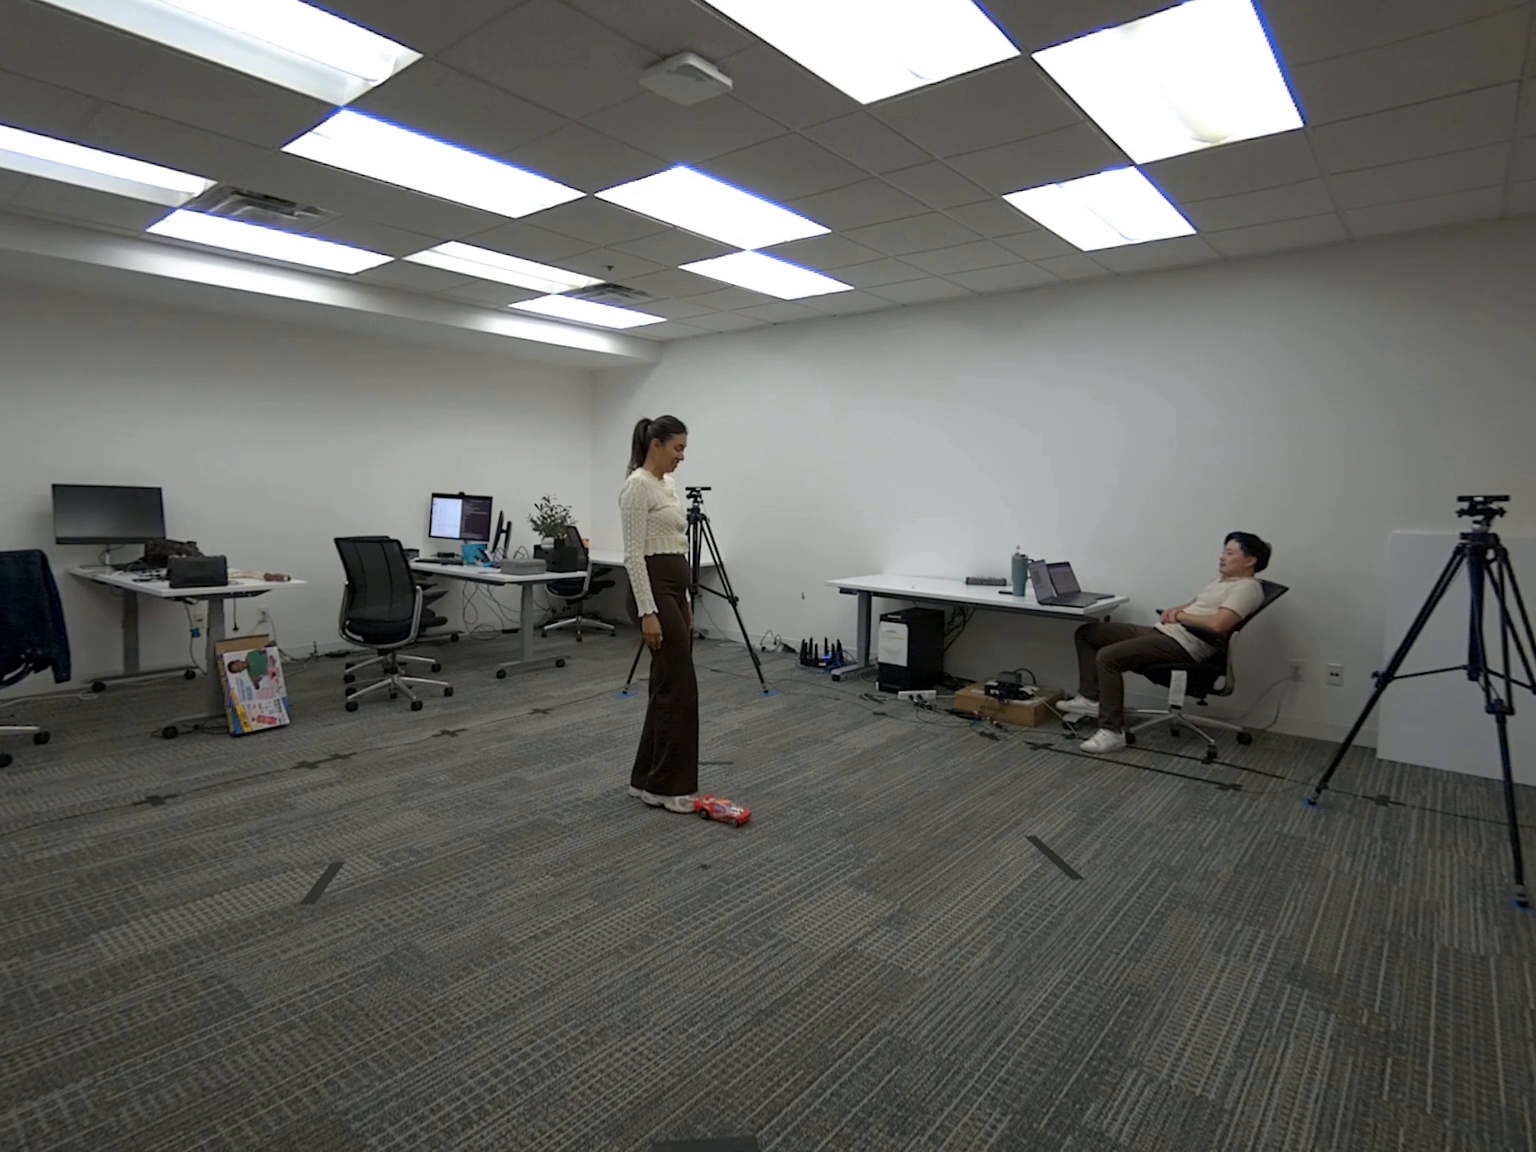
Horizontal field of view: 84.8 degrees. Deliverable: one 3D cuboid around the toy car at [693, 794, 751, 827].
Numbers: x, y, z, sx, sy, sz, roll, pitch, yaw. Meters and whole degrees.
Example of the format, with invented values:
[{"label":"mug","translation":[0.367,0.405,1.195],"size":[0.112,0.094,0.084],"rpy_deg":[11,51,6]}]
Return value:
[{"label":"toy car","translation":[-0.208,0.987,3.583],"size":[0.263,0.082,0.127],"rpy_deg":[17,13,31]}]
